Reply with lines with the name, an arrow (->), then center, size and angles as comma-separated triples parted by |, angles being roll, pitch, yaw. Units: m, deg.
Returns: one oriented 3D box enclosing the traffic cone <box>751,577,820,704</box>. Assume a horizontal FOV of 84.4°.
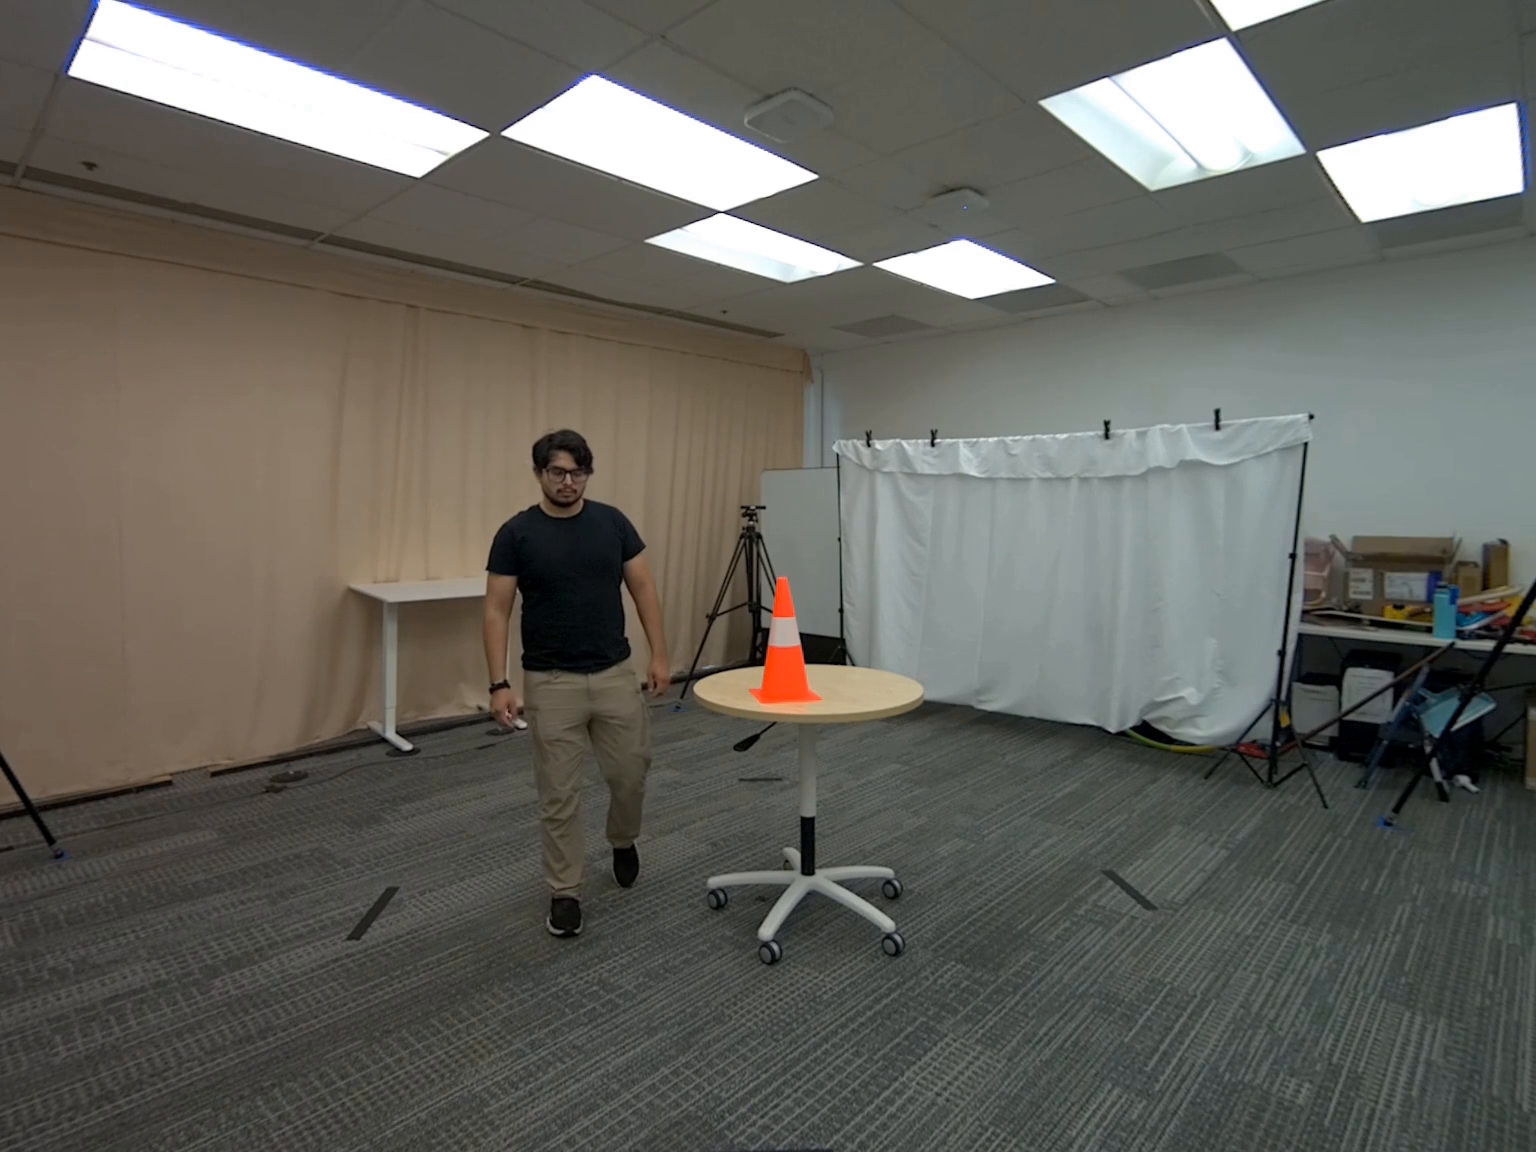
traffic cone -> 0.053, 0.199, 2.691 | 0.200, 0.383, 0.208 | -2, 3, -16
